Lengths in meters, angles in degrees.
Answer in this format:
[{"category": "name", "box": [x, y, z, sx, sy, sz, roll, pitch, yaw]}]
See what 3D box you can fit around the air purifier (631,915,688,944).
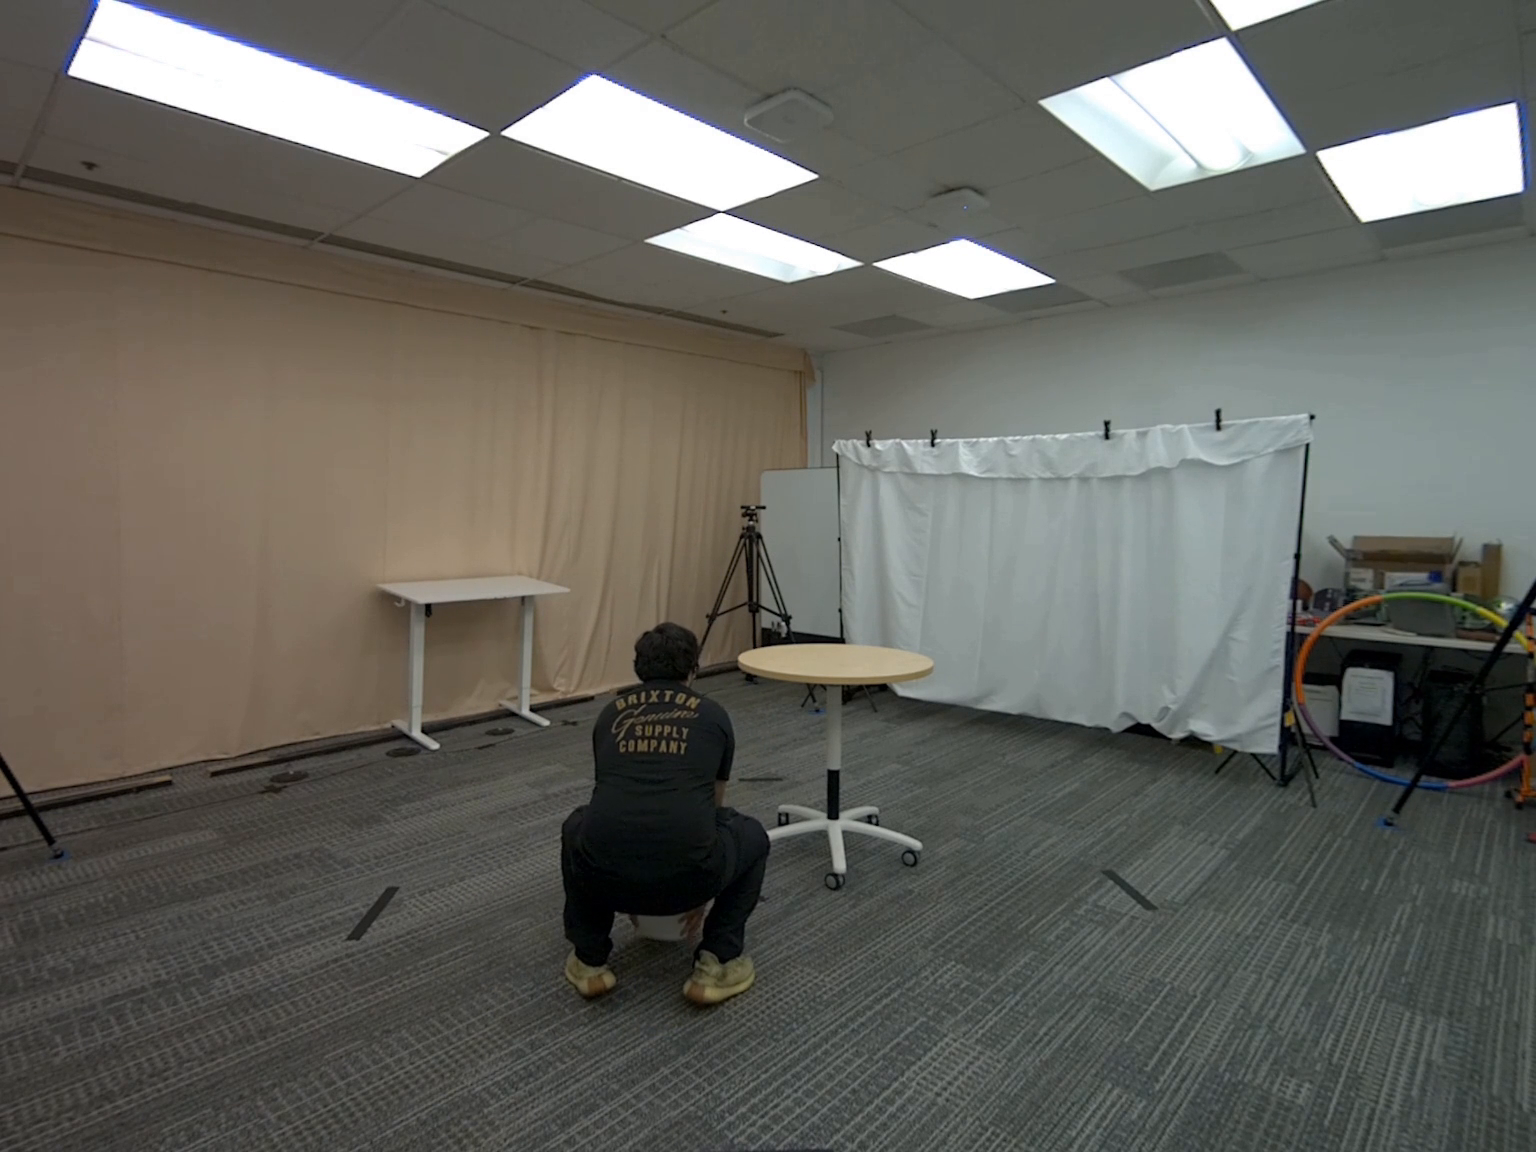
[{"category": "air purifier", "box": [-0.332, 1.002, 2.669, 0.171, 0.261, 0.172, 1, 7, 14]}]
